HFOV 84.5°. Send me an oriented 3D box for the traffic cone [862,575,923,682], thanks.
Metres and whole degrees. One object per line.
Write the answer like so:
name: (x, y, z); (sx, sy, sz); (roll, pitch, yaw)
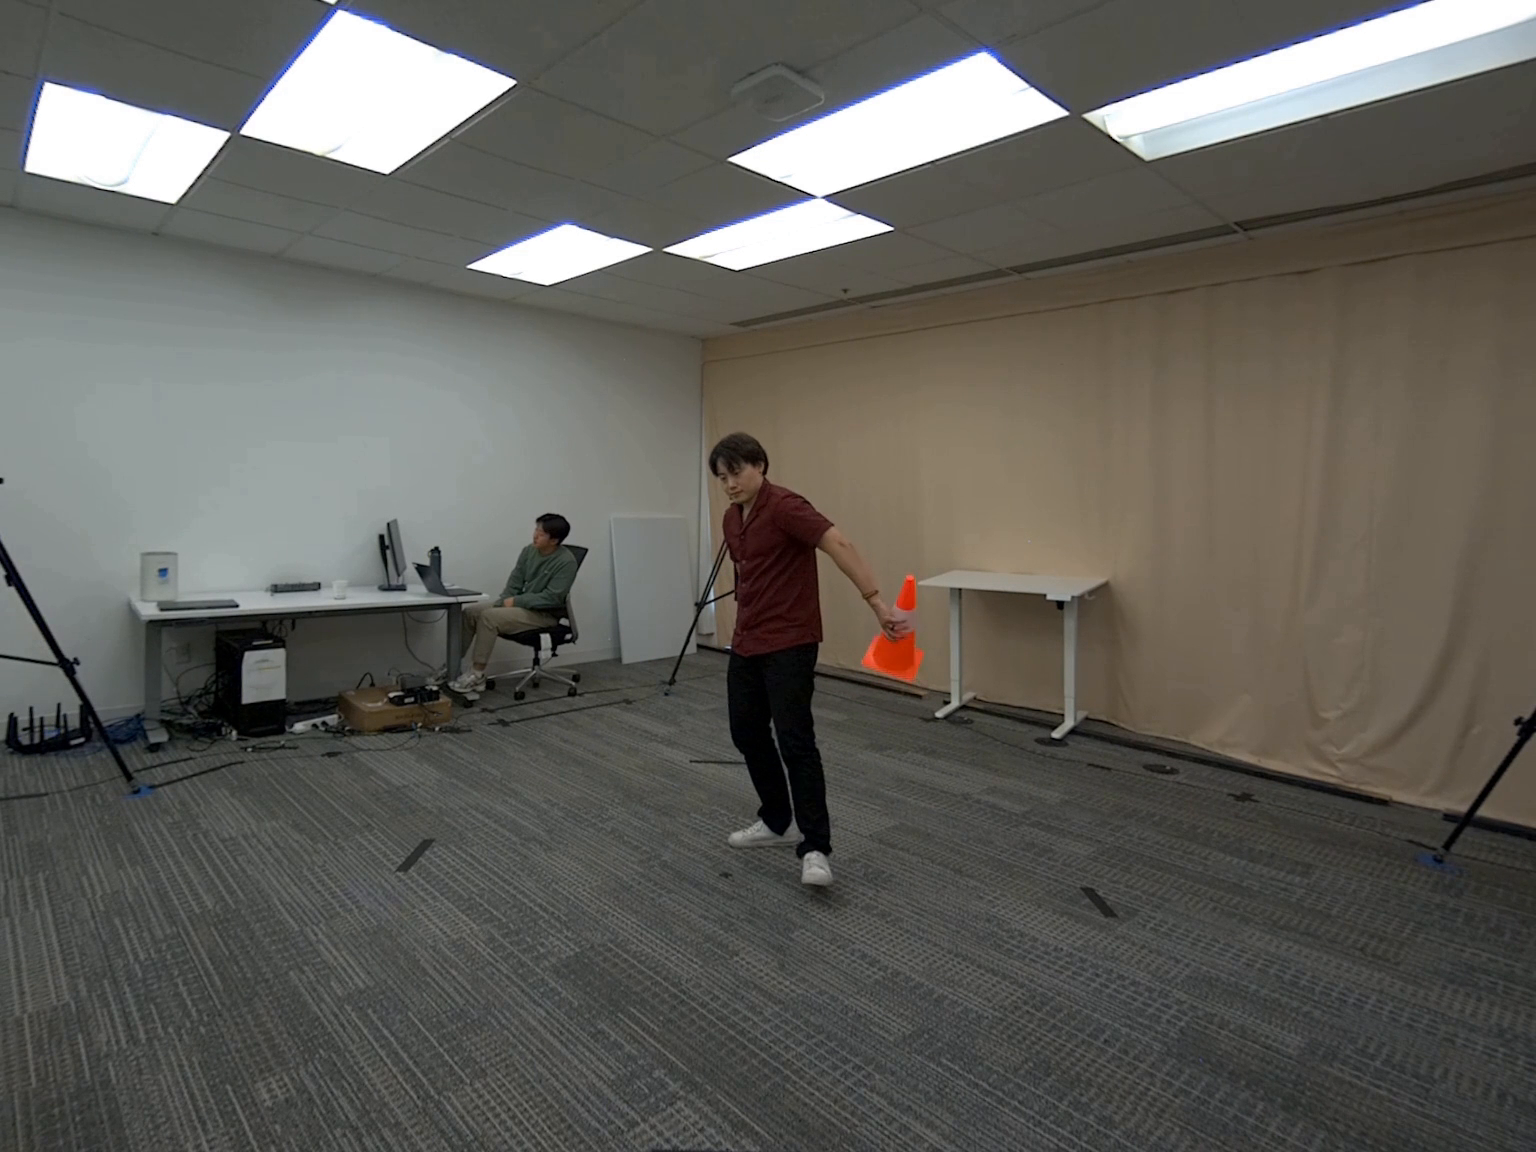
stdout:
traffic cone: (0.485, 0.156, 3.075); (0.207, 0.376, 0.205); (19, 37, 19)
